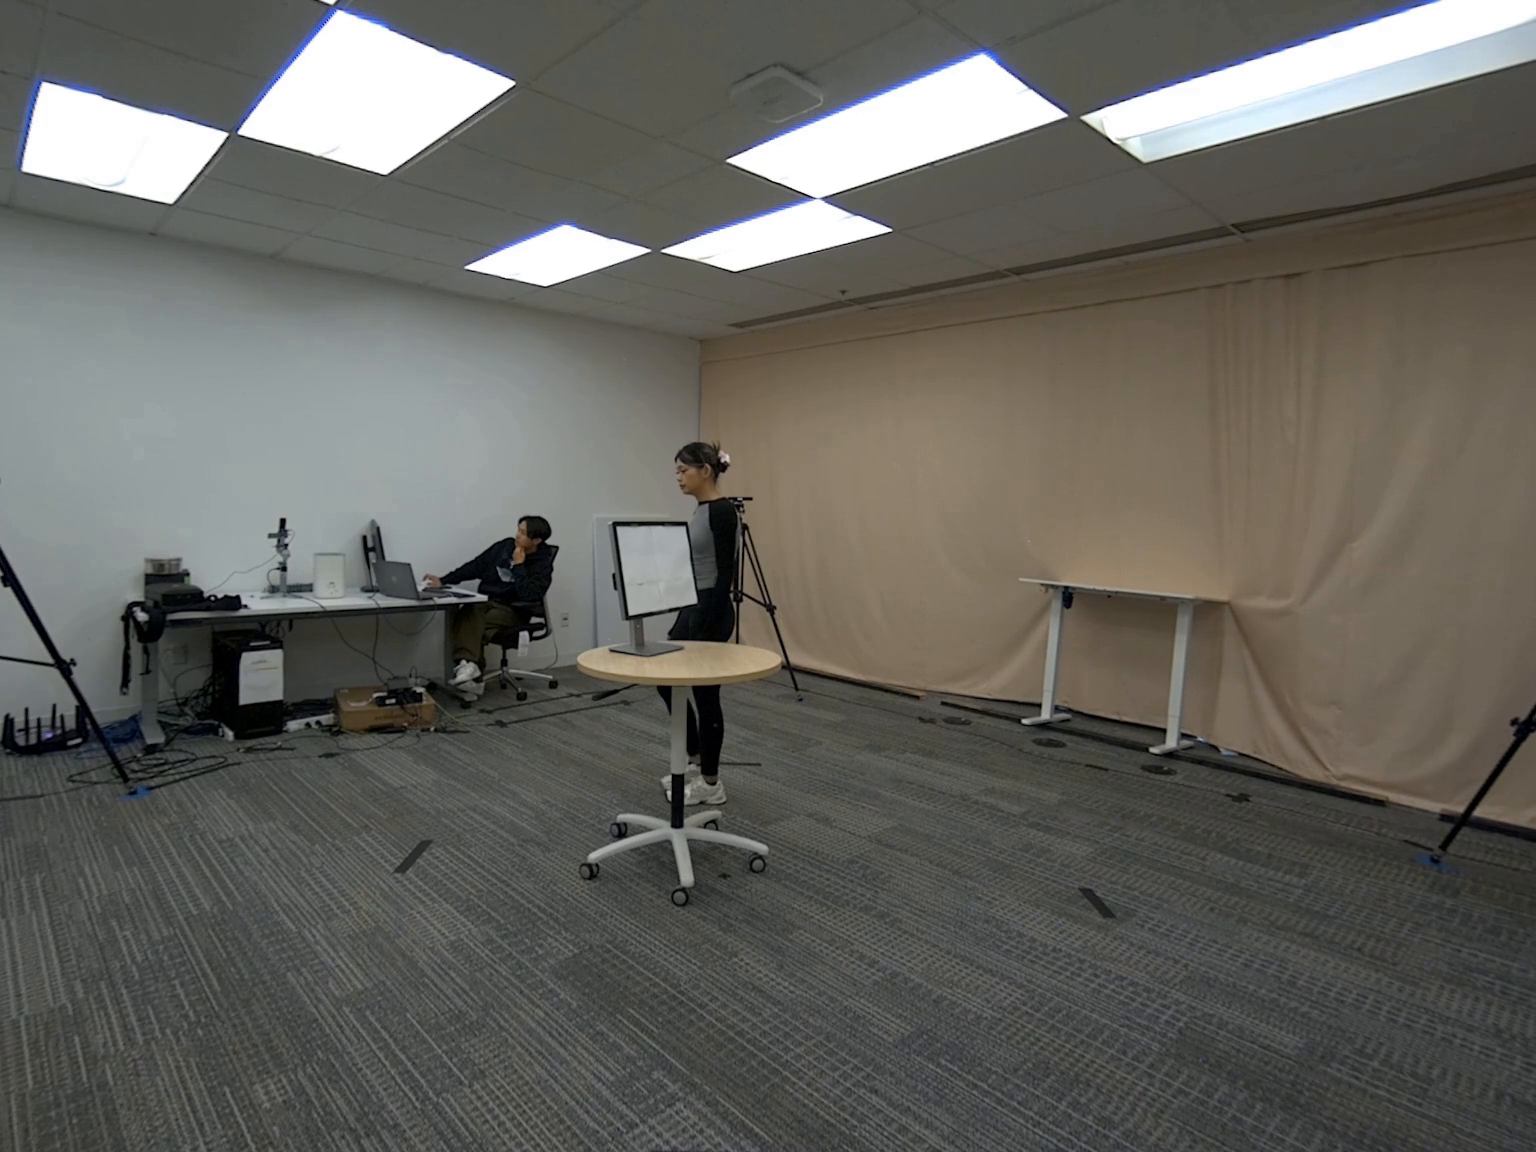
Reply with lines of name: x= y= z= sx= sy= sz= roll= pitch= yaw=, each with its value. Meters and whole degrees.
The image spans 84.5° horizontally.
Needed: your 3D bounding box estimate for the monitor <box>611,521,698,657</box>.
monitor: x=-0.484 y=0.048 z=3.309 sx=0.190 sy=0.521 sz=0.530 roll=5 pitch=5 yaw=22
